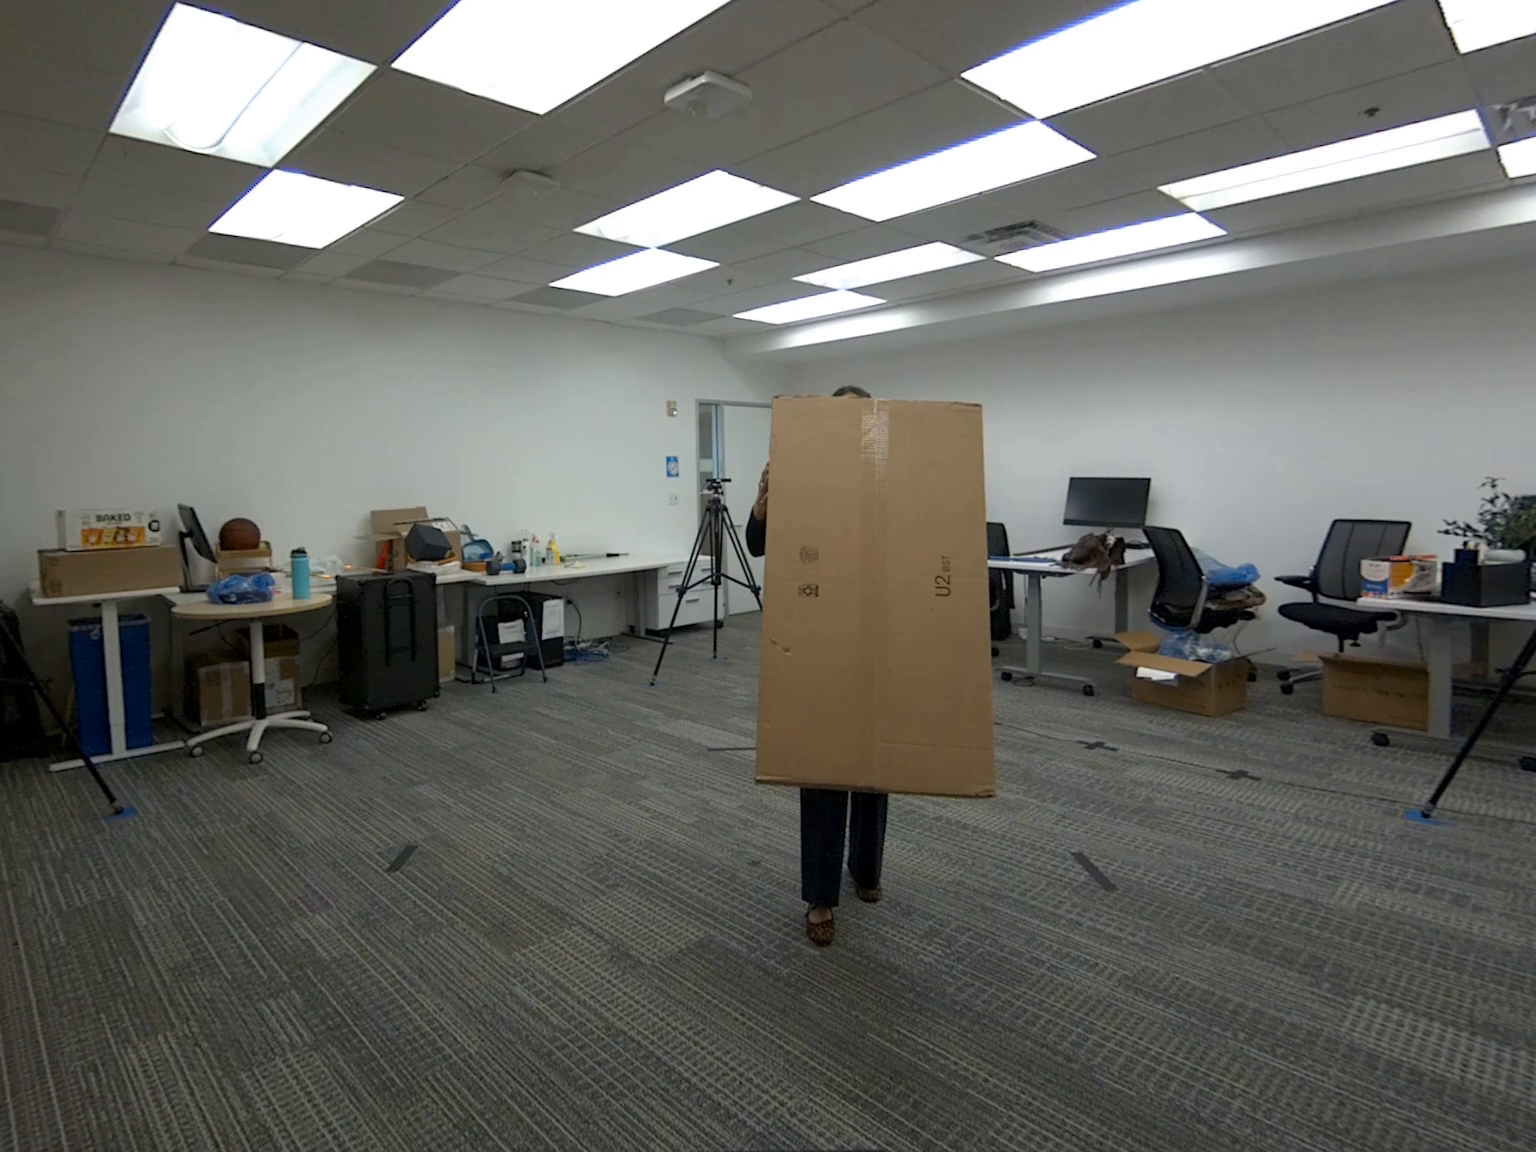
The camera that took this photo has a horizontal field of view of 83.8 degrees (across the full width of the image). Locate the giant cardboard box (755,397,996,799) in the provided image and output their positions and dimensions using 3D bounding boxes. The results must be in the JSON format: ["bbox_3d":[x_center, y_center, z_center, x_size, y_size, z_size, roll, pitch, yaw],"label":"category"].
[{"bbox_3d":[0.272,0.065,2.371,0.579,1.040,0.419,2,-16,3],"label":"giant cardboard box"}]
